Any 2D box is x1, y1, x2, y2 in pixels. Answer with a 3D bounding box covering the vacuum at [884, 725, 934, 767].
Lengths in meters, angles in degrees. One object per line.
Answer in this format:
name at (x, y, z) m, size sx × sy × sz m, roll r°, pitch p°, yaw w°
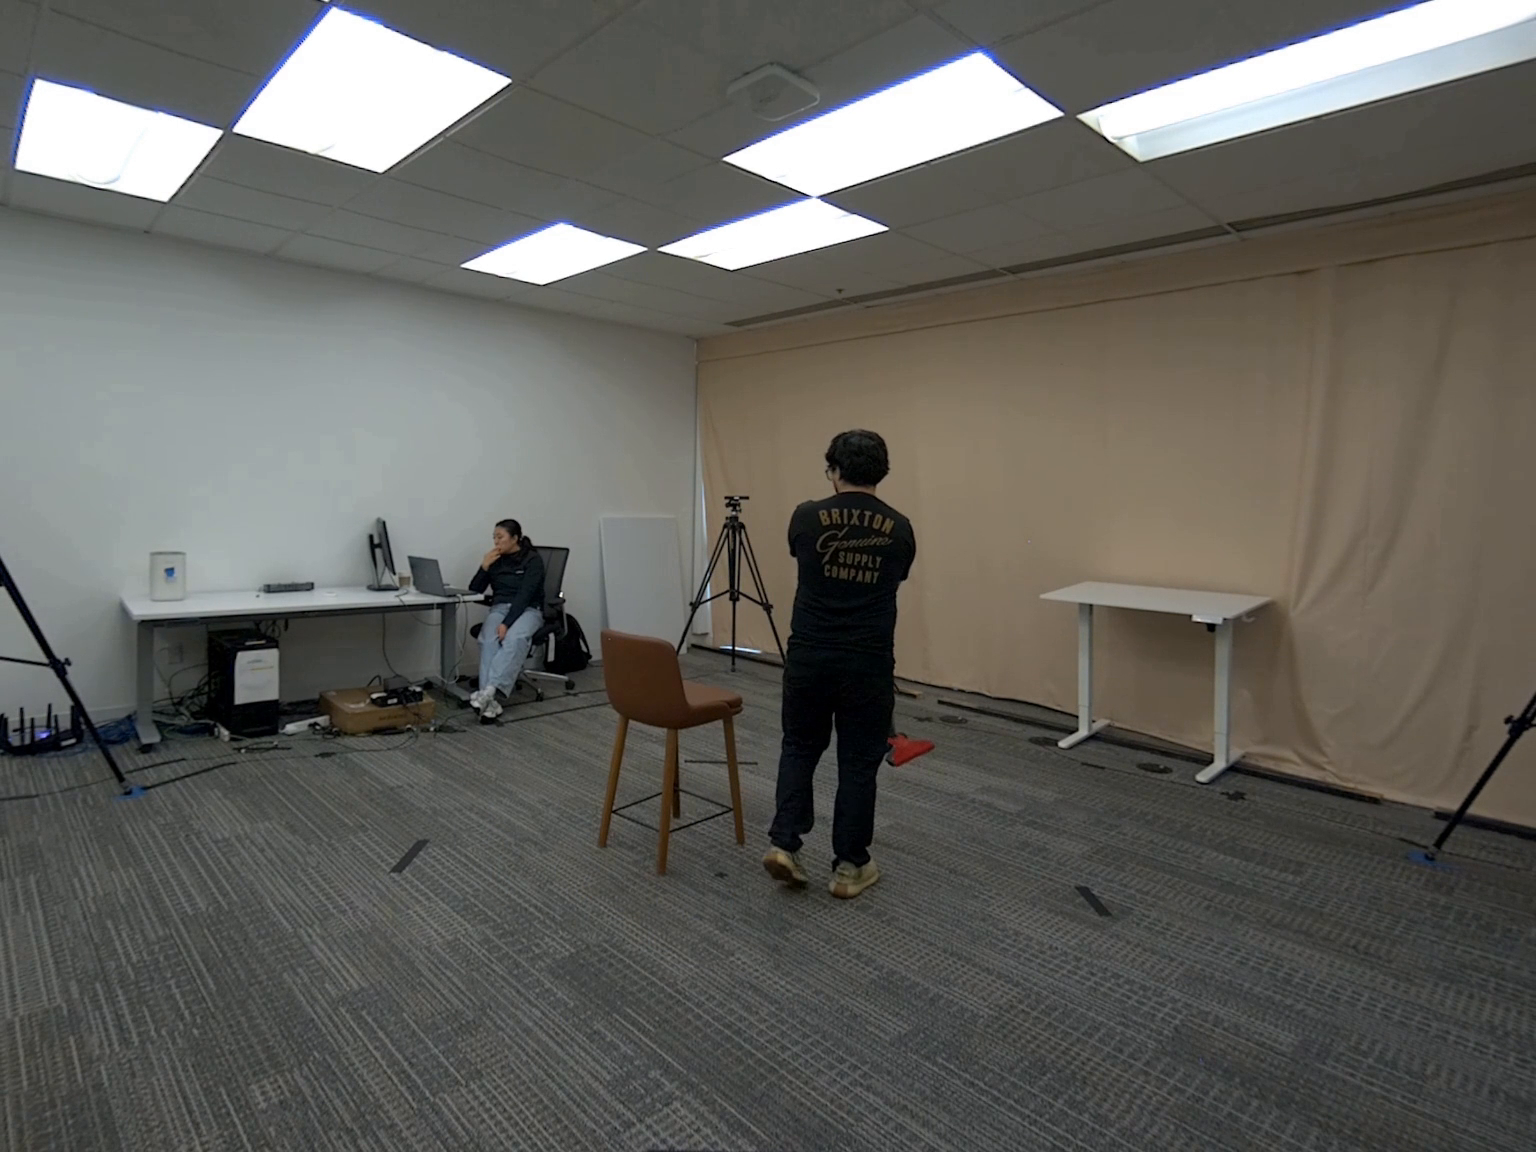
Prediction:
vacuum at (0.341, 0.214, 3.463) m, size 0.248 × 1.062 × 0.145 m, roll -12°, pitch -16°, yaw -38°
